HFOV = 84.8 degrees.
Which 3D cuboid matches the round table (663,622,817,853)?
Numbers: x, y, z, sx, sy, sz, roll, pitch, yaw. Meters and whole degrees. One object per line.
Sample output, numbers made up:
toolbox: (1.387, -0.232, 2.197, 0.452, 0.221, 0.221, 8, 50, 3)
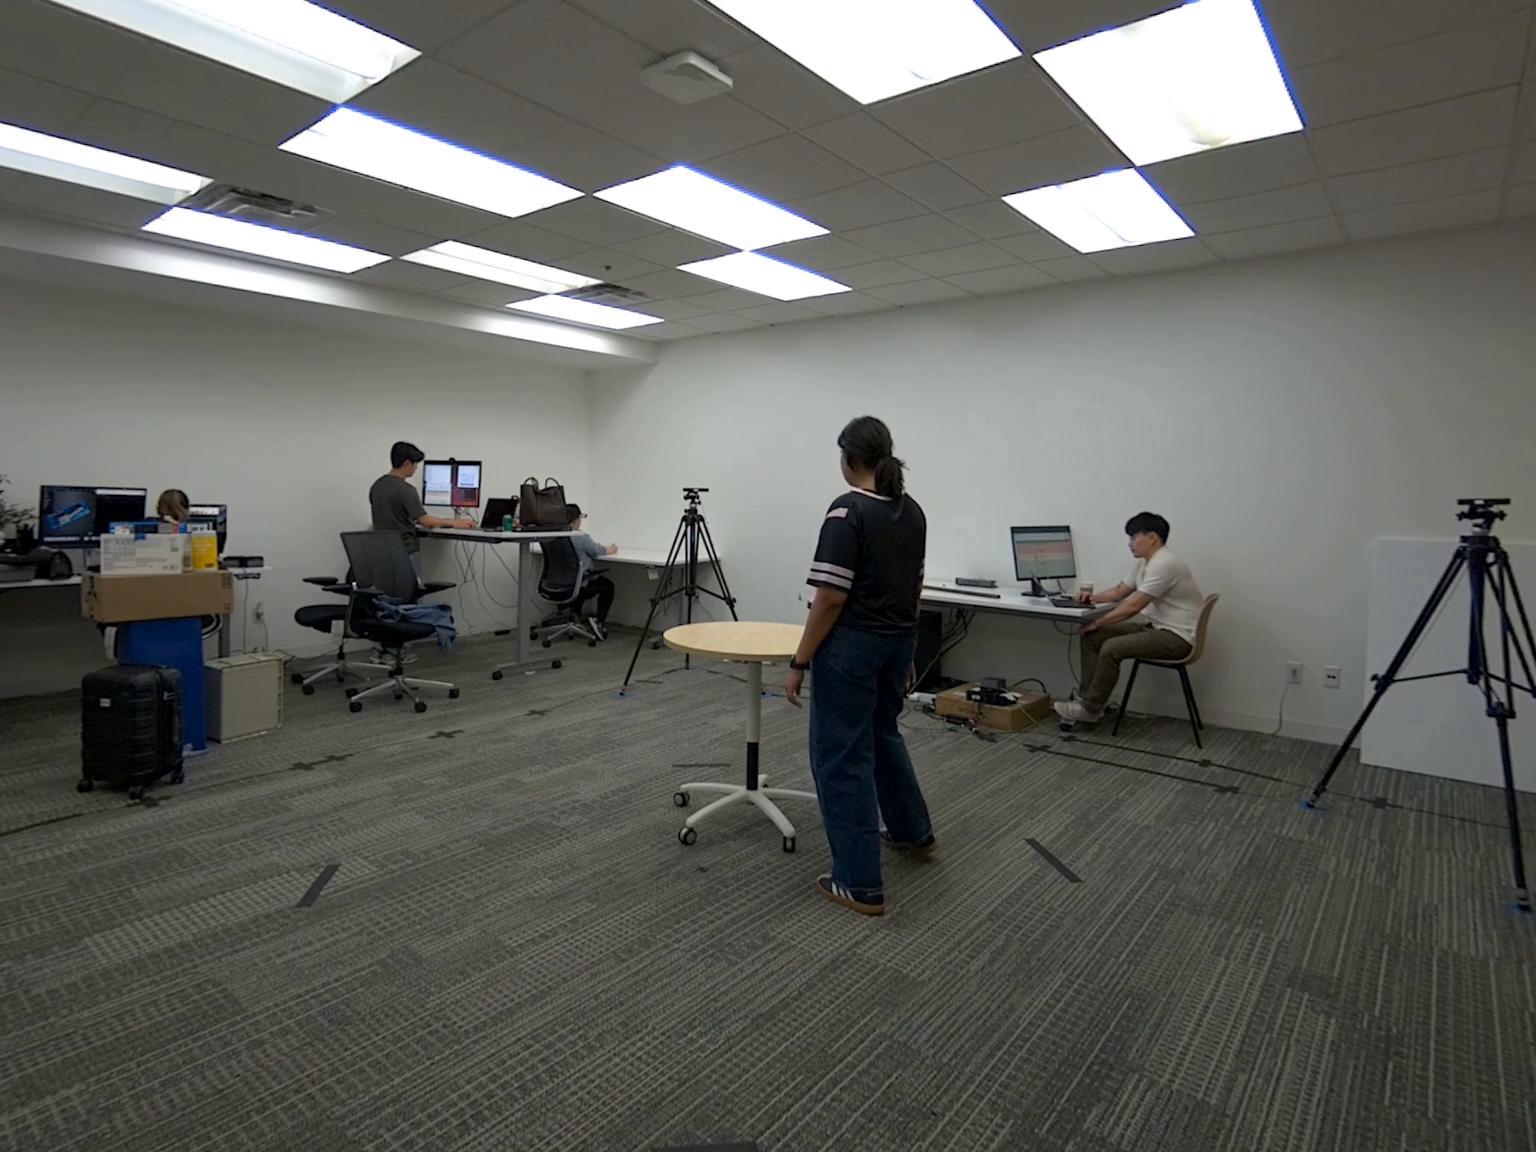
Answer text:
round table: (-0.080, 0.641, 3.555, 0.763, 0.791, 0.768, 1, 4, -2)
